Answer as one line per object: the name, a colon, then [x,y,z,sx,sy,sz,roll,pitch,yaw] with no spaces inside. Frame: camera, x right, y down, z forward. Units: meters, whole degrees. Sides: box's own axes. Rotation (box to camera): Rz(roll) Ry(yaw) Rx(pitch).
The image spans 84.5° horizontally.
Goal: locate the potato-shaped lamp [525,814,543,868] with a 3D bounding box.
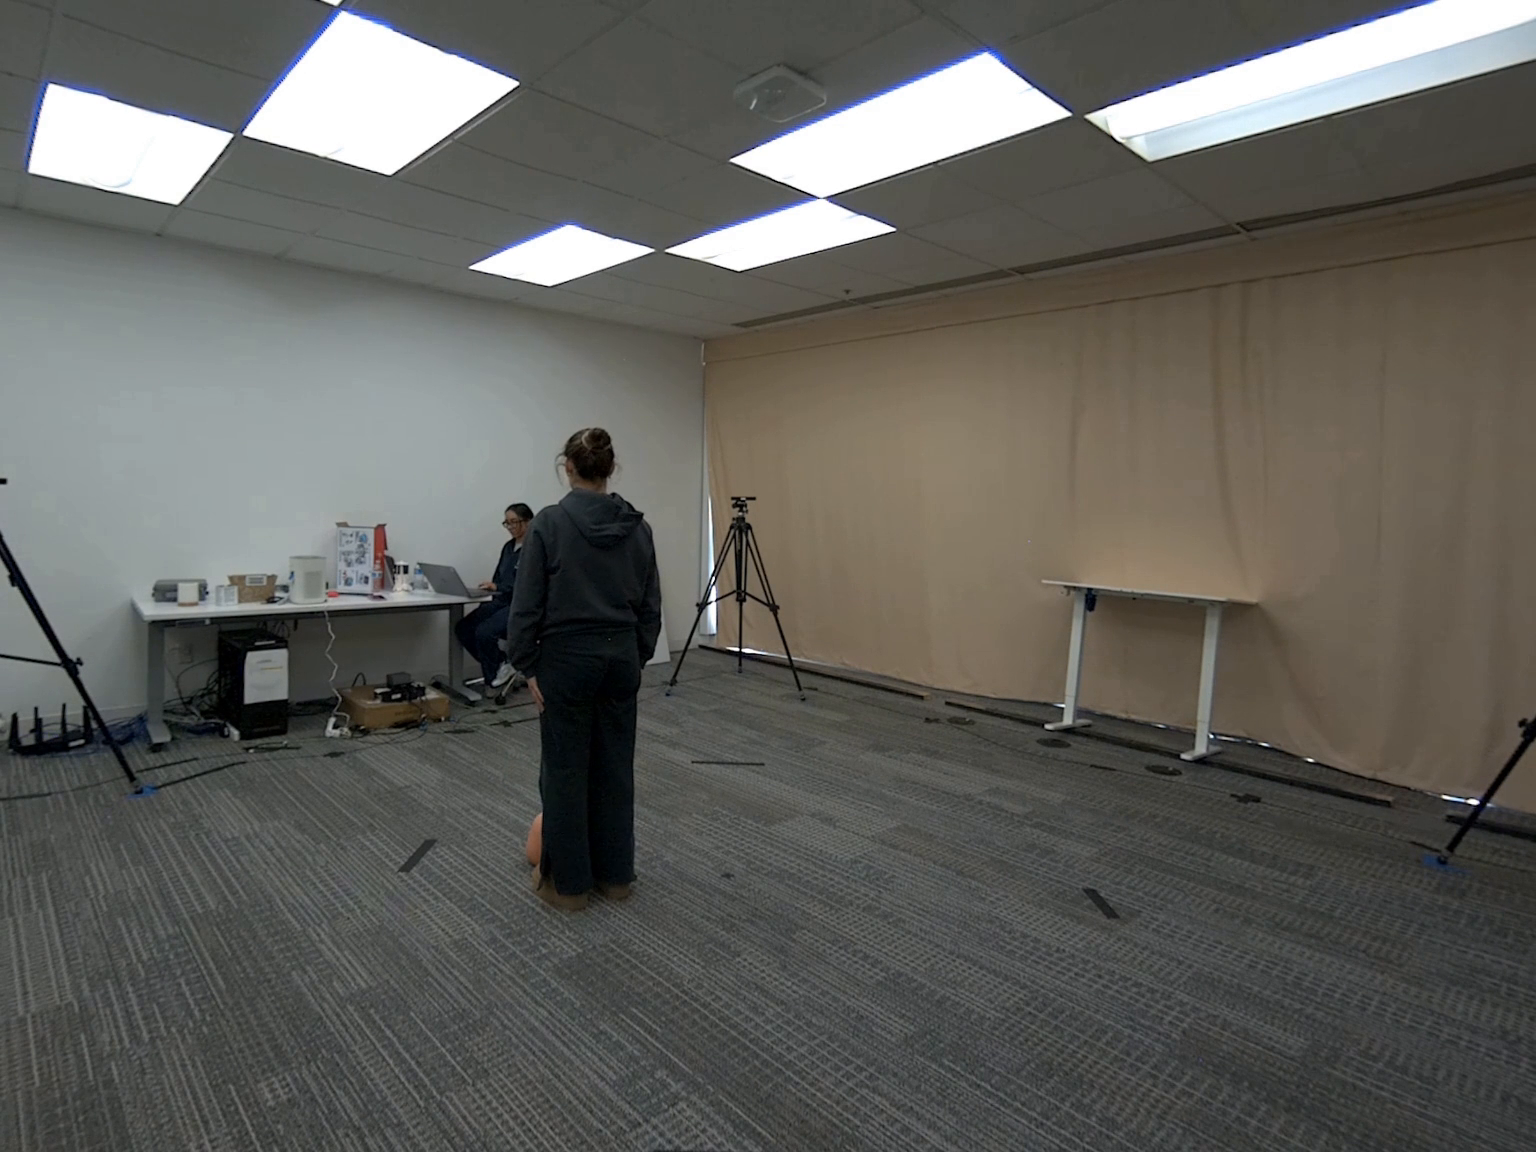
potato-shaped lamp: [-0.834,1.004,3.187,0.170,0.197,0.167,38,15,36]
